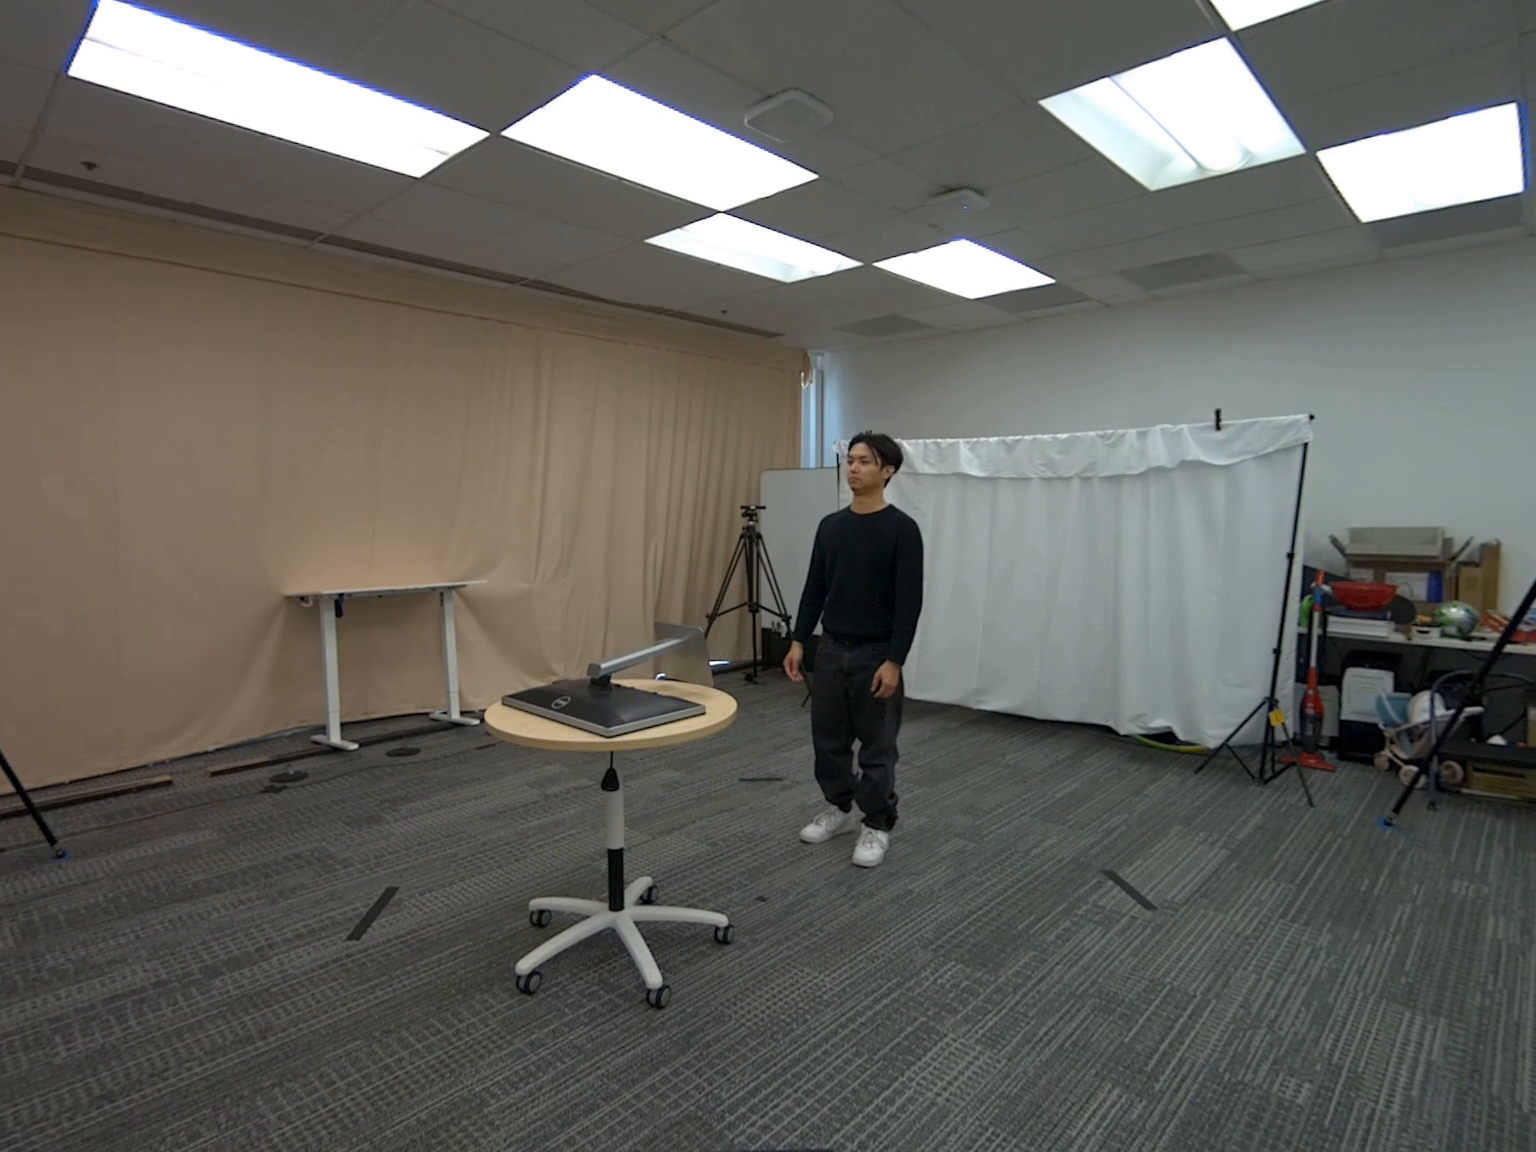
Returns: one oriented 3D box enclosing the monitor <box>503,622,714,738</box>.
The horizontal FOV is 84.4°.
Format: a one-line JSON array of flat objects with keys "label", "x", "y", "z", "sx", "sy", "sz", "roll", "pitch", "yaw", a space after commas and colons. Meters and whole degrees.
[{"label": "monitor", "x": -0.464, "y": 0.332, "z": 2.592, "sx": 0.557, "sy": 0.185, "sz": 0.511, "roll": 2, "pitch": 19, "yaw": 45}]
